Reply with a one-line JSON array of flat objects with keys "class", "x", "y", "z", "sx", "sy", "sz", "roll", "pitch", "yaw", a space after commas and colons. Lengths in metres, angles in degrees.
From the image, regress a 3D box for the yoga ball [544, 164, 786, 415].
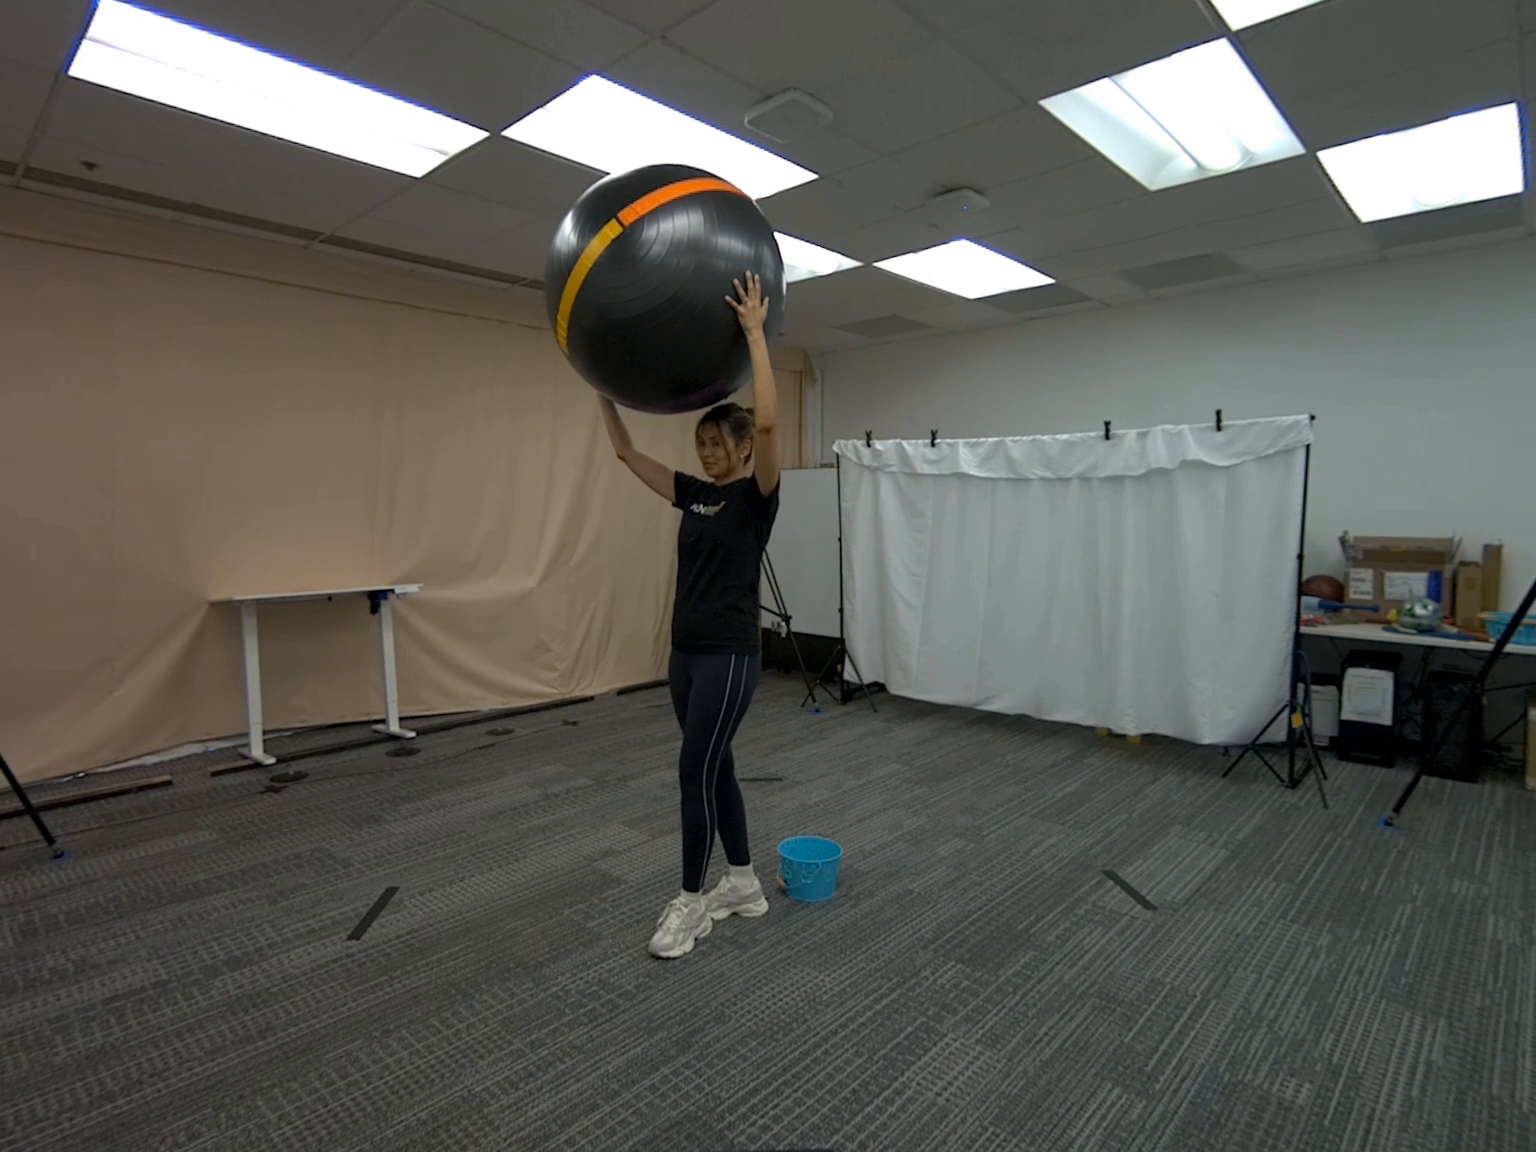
[{"class": "yoga ball", "x": -0.319, "y": -0.887, "z": 2.652, "sx": 0.757, "sy": 0.756, "sz": 0.760, "roll": 0, "pitch": 4, "yaw": -2}]
